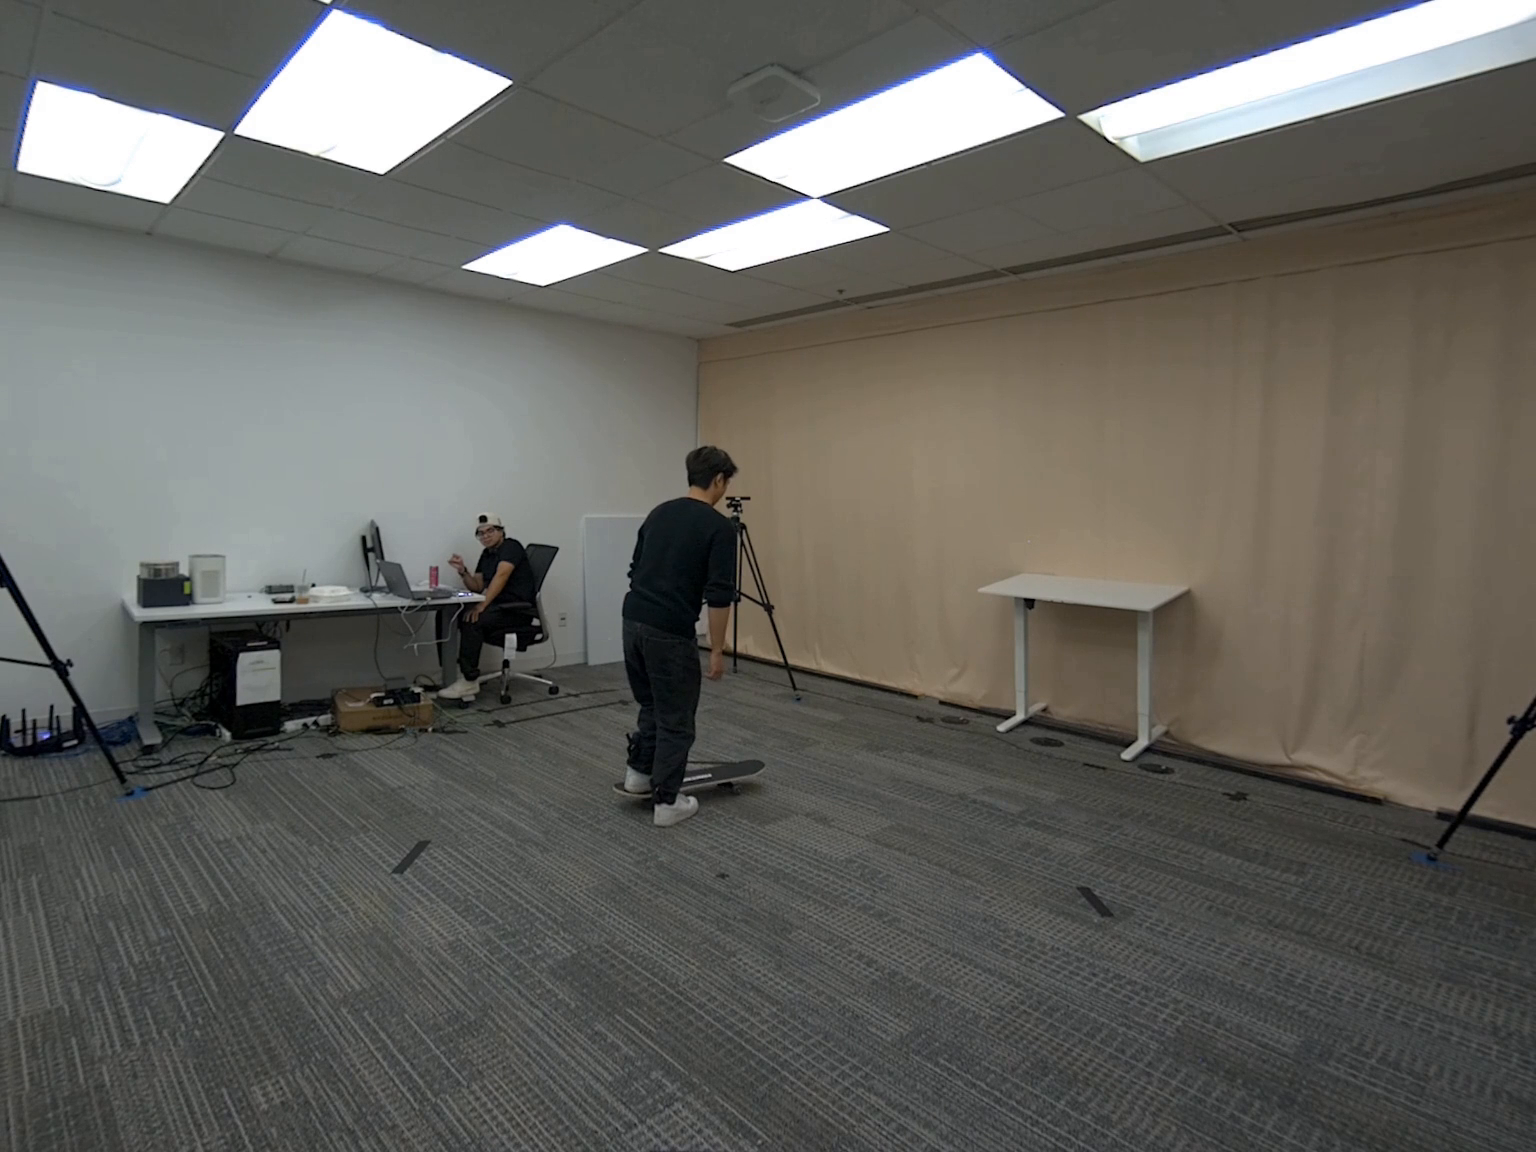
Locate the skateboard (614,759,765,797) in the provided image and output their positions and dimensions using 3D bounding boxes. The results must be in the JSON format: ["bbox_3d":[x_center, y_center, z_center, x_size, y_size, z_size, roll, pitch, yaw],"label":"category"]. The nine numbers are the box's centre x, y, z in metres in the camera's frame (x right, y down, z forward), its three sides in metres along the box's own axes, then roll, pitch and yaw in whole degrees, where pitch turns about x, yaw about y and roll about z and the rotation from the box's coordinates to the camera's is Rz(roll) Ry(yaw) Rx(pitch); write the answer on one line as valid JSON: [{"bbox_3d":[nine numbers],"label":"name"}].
[{"bbox_3d":[-0.375,0.969,3.926,0.769,0.110,0.198,-3,7,-33],"label":"skateboard"}]
